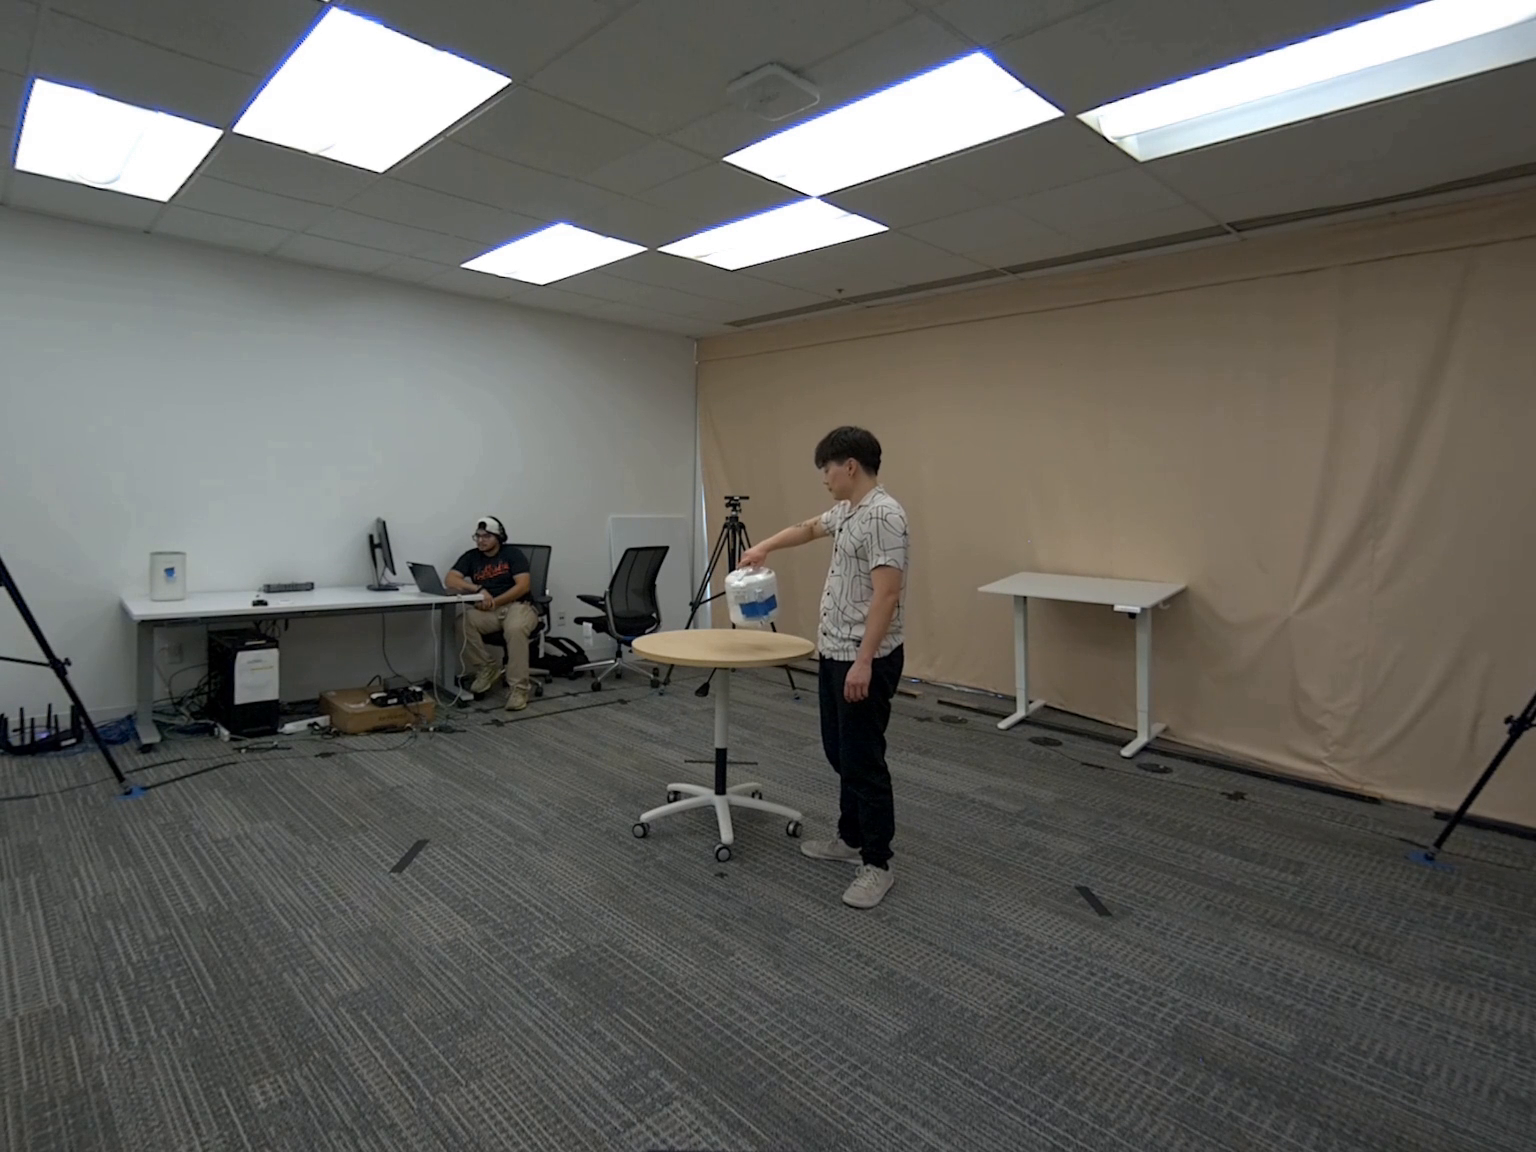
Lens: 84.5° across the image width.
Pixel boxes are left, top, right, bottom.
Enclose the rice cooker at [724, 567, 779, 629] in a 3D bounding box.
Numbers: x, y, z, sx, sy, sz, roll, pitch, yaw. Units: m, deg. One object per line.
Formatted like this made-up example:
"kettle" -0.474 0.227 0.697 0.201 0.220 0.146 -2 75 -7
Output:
"rice cooker" -0.071 0.068 3.402 0.222 0.230 0.218 2 15 30
